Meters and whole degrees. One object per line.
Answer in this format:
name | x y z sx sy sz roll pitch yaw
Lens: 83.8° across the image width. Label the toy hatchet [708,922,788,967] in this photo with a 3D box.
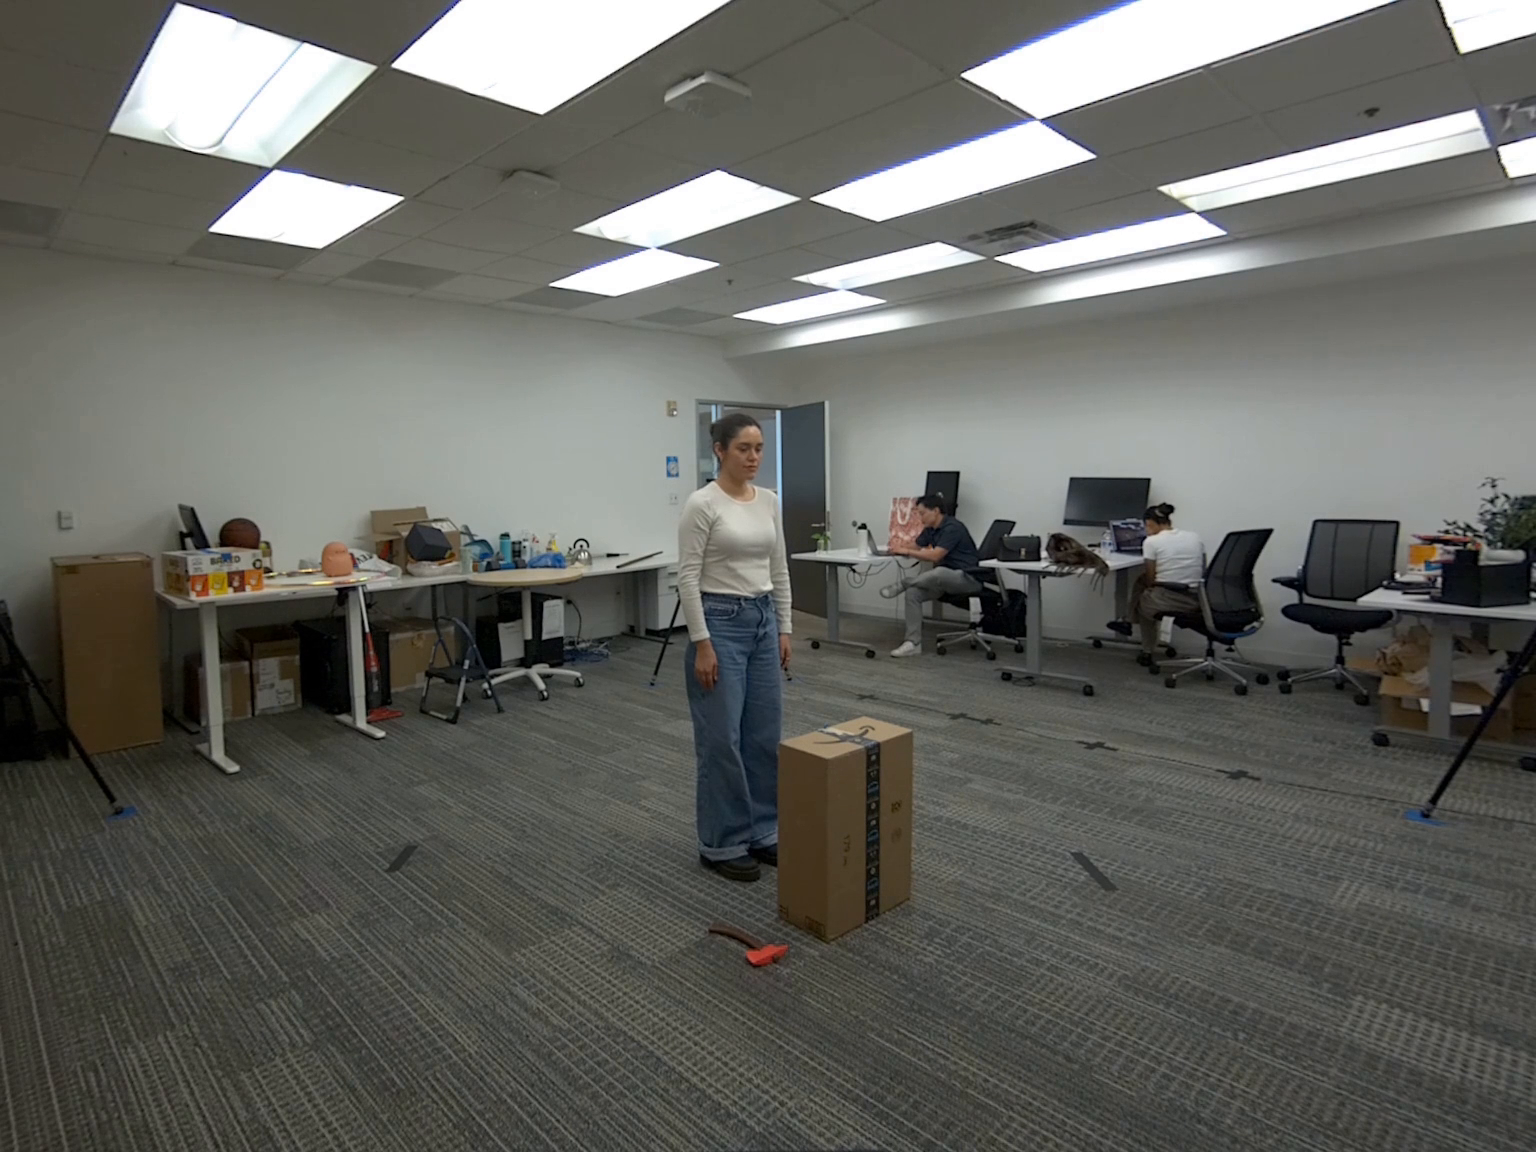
toy hatchet | -0.082 1.102 2.541 0.277 0.029 0.128 2 9 33
